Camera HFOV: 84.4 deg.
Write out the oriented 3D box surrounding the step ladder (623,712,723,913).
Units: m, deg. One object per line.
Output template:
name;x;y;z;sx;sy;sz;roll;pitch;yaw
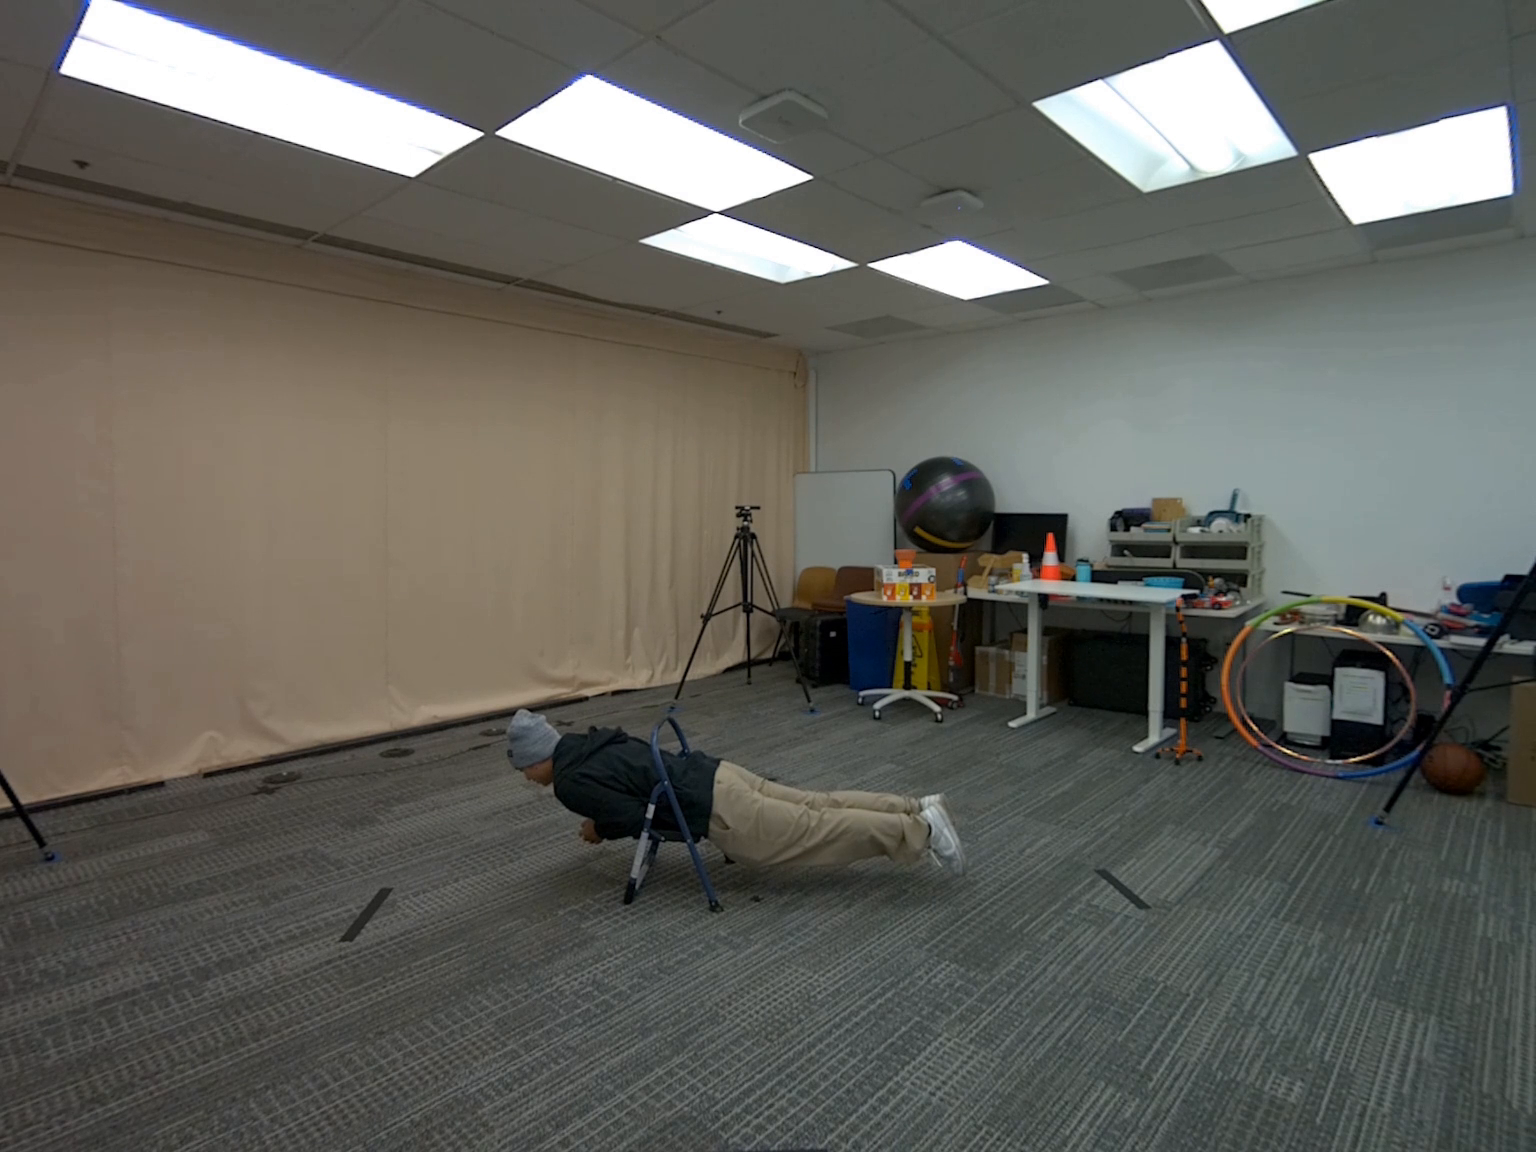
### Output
step ladder;-0.320;0.838;3.105;0.351;0.605;0.429;-2;3;5
